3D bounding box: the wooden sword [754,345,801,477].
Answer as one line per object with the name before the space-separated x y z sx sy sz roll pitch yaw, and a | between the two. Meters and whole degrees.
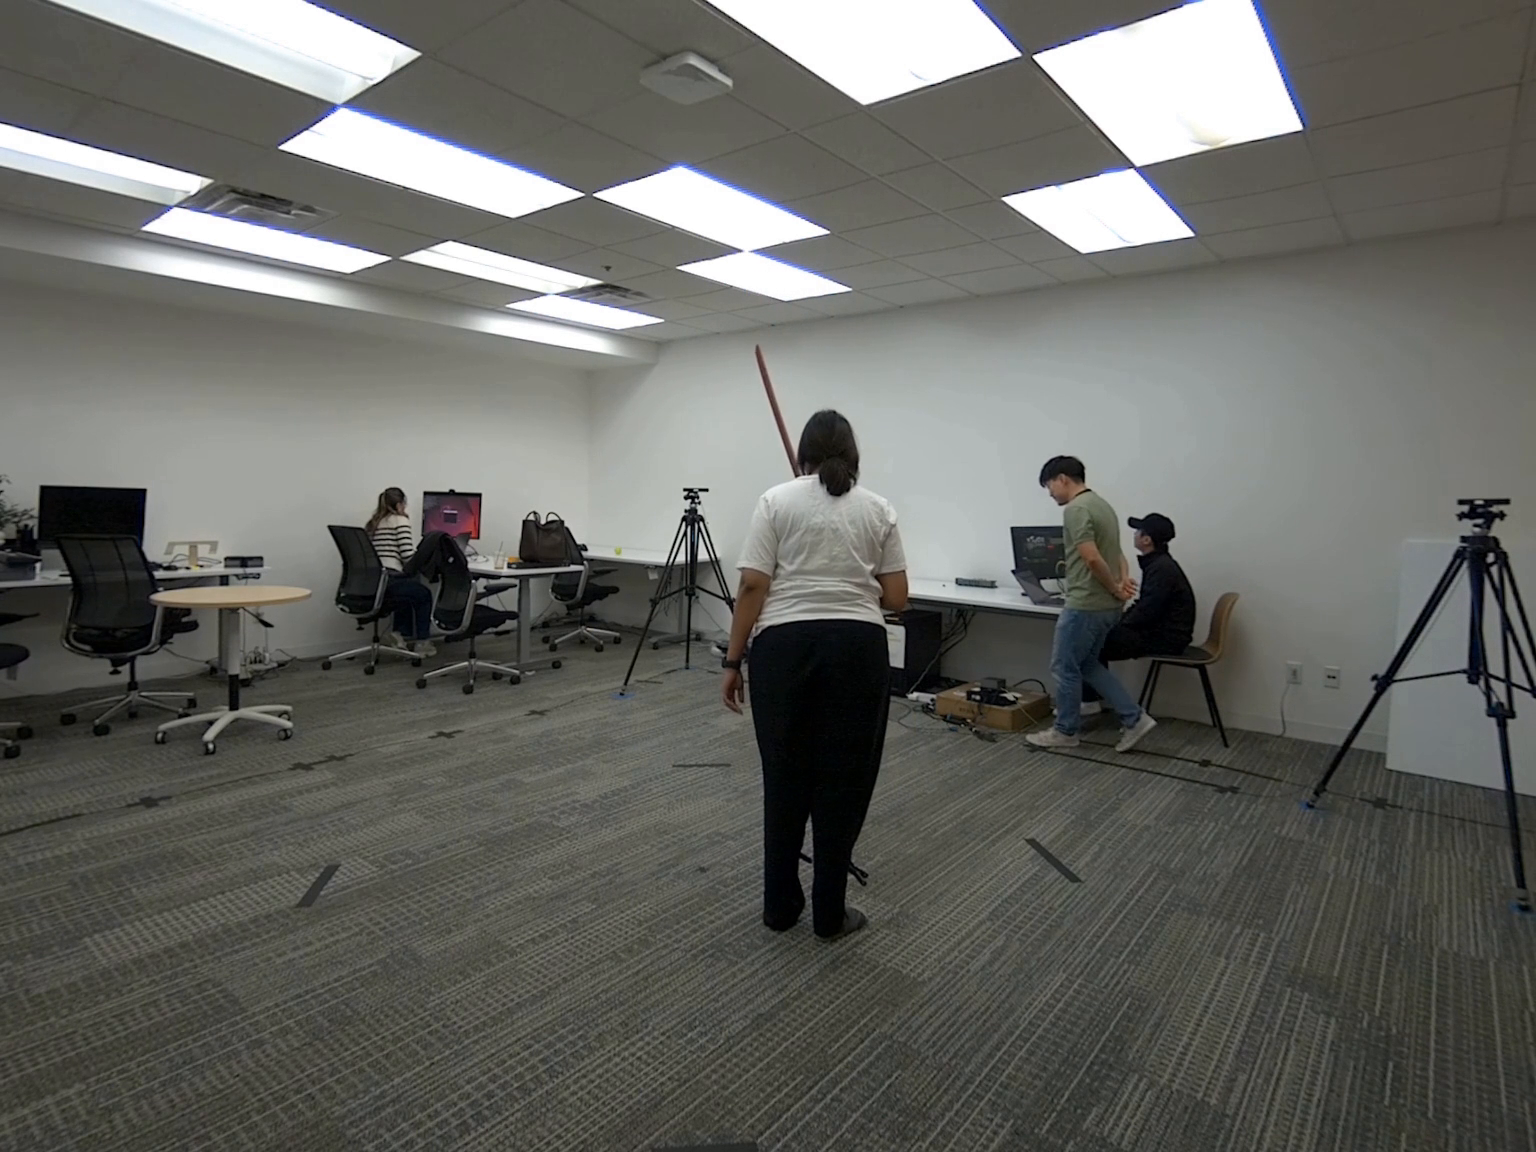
wooden sword | 0.083 -0.437 3.163 0.023 1.051 0.051 -9 -23 -21
